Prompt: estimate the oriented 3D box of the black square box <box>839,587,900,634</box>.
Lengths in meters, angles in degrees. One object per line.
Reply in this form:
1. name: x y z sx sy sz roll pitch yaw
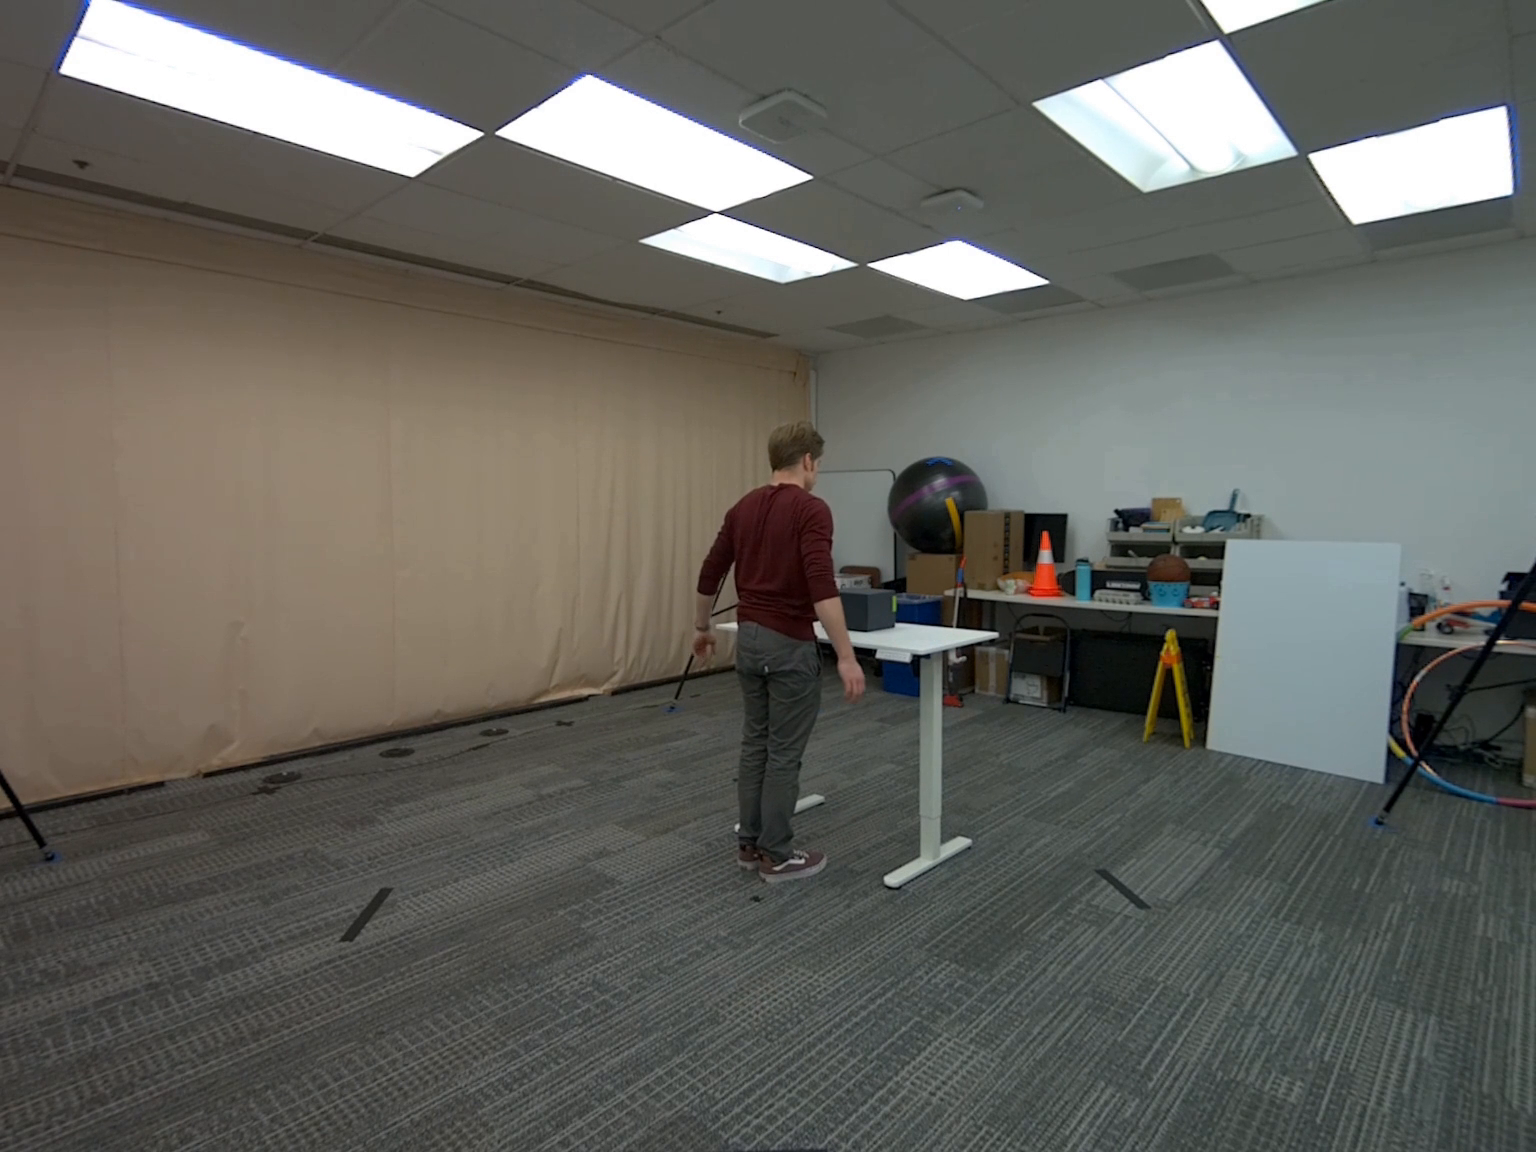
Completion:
1. black square box: 0.386 0.137 3.516 0.235 0.155 0.210 3 4 42
